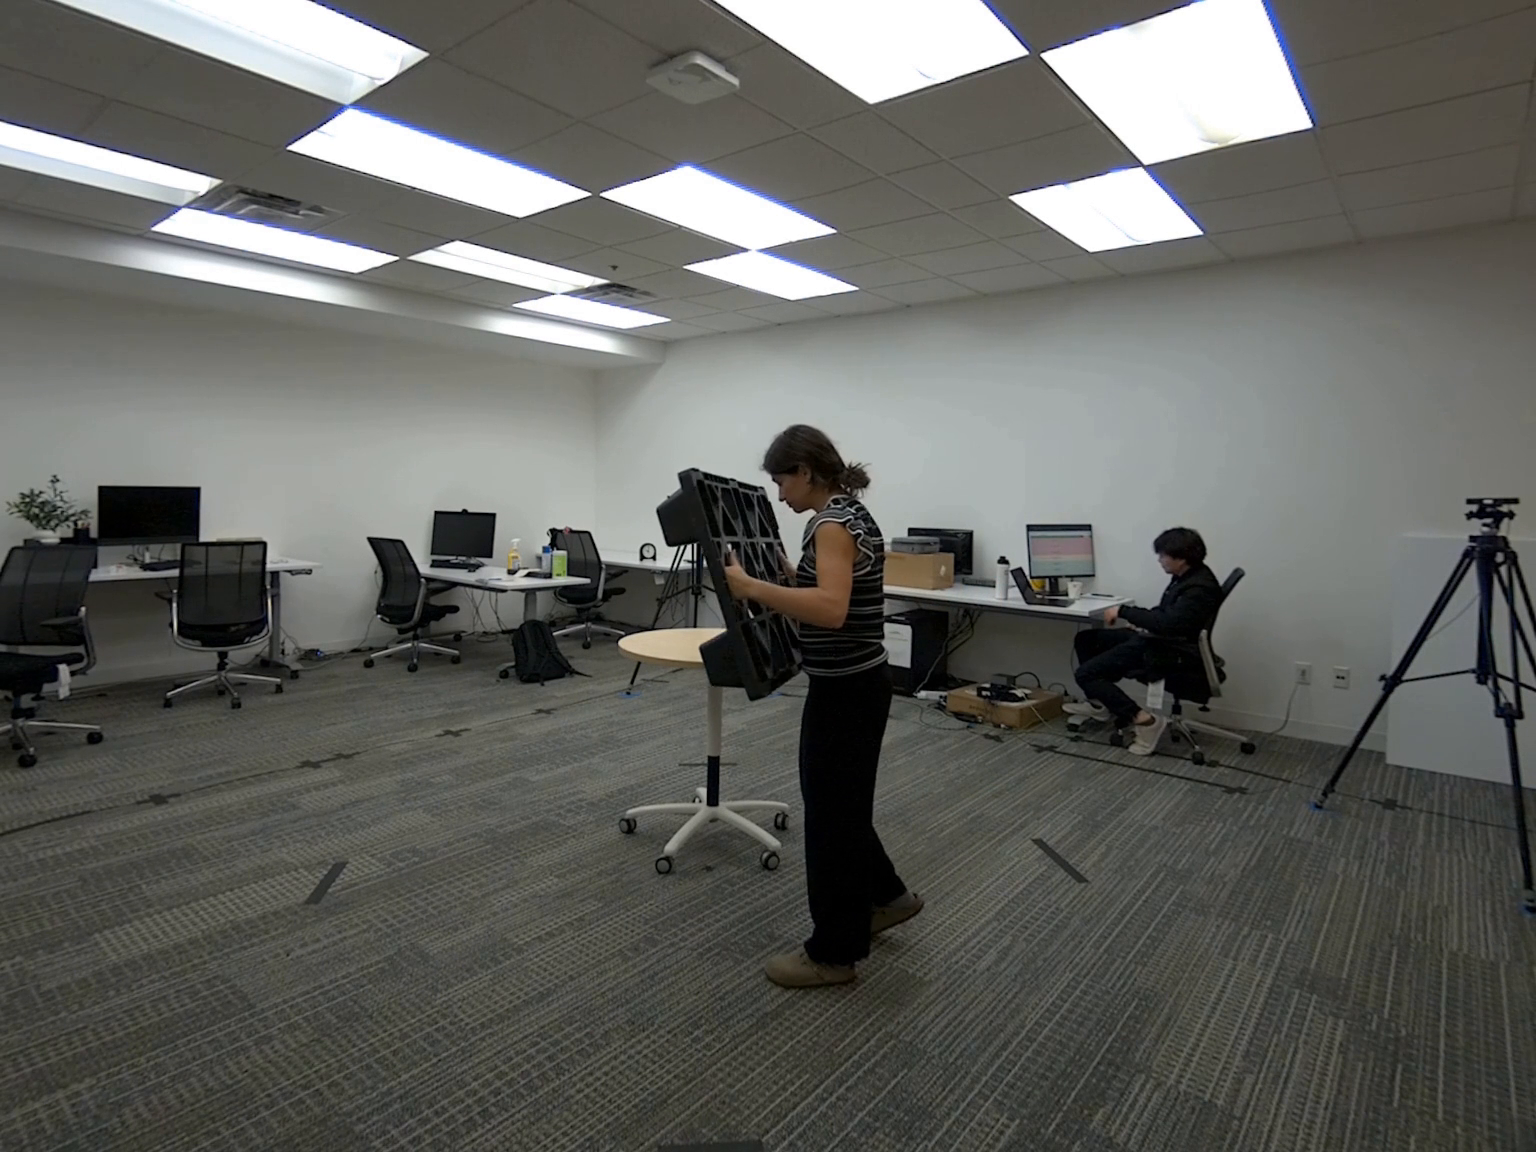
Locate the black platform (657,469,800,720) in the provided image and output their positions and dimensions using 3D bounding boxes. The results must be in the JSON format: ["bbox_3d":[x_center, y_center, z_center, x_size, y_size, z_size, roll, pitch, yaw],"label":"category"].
[{"bbox_3d":[-0.076,0.013,2.485,0.145,0.609,0.793,-19,-4,12],"label":"black platform"}]
